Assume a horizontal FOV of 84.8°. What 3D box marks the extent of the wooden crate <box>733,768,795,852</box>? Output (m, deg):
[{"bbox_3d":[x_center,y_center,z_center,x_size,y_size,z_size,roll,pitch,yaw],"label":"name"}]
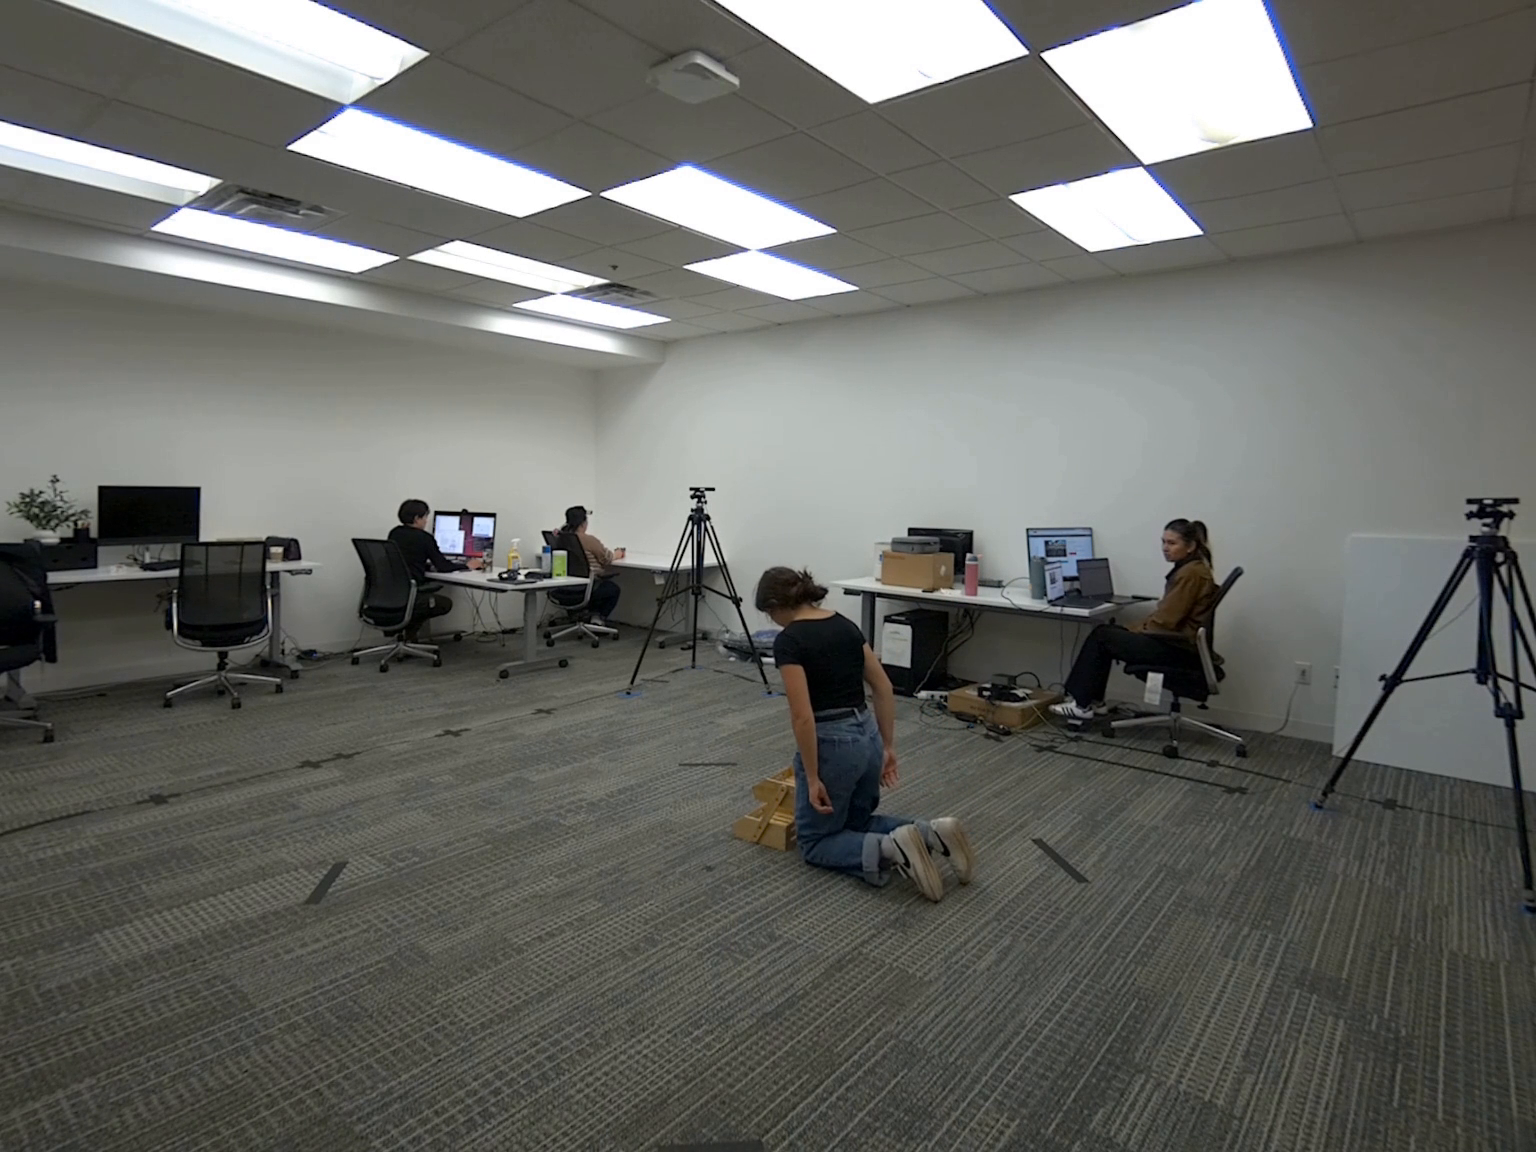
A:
[{"bbox_3d":[0.047,0.908,3.453,0.311,0.272,0.316,4,5,30],"label":"wooden crate"}]
